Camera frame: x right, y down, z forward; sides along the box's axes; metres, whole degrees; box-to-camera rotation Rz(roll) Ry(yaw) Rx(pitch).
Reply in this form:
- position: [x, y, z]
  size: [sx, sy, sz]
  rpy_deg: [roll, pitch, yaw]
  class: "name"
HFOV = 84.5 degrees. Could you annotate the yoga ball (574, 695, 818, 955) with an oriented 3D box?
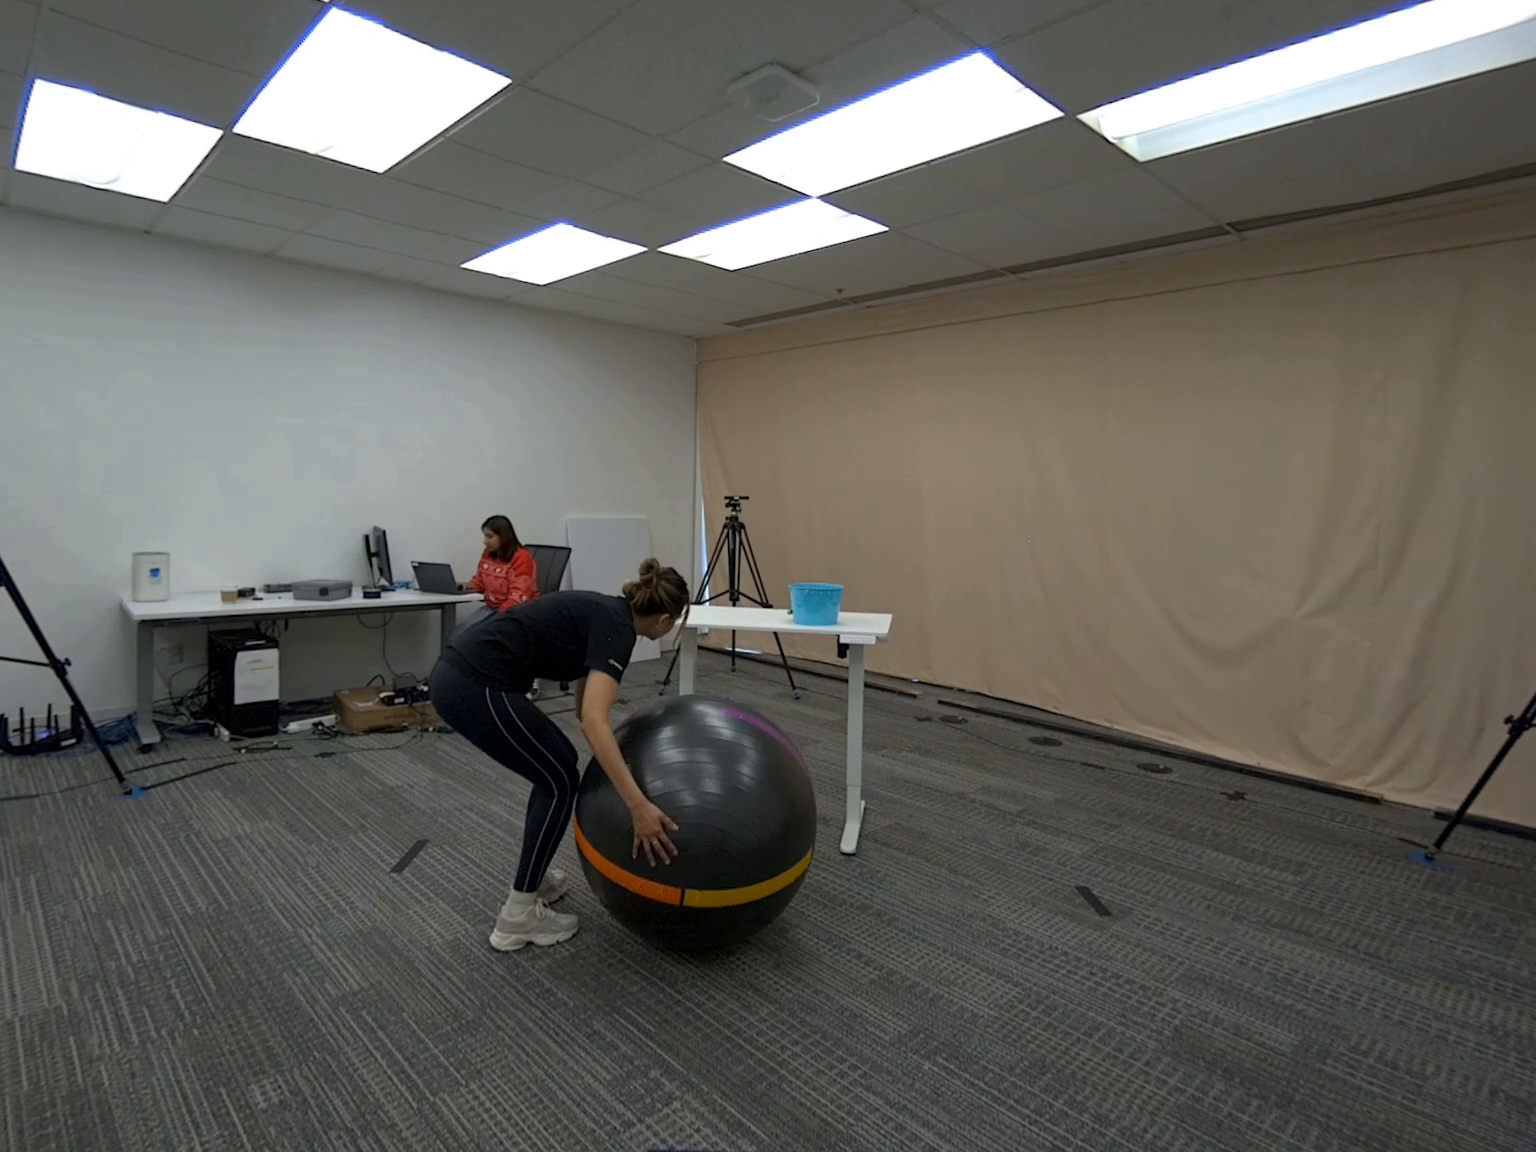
- position: [-0.219, 0.759, 2.642]
  size: [0.757, 0.756, 0.761]
  rpy_deg: [1, 4, -1]
  class: "yoga ball"
